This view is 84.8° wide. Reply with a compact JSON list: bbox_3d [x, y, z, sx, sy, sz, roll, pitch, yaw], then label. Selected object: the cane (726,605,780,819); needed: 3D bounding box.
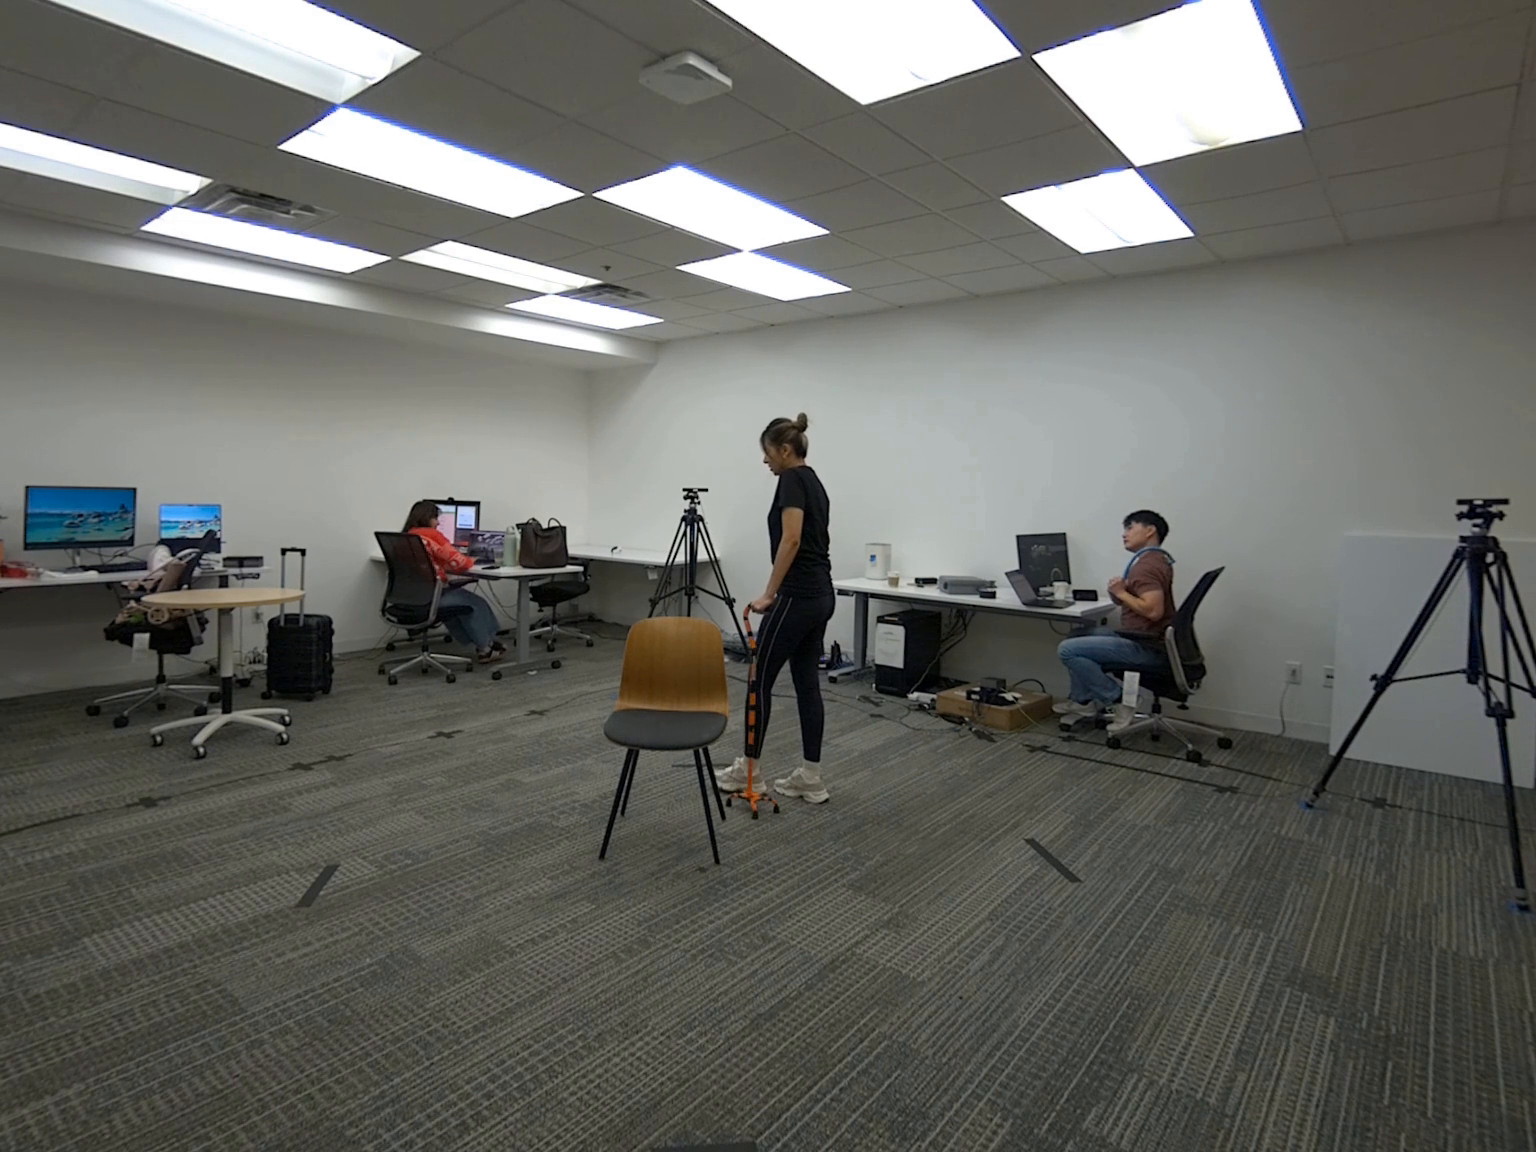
[{"bbox_3d":[-0.067,0.561,3.687,0.147,0.905,0.213,-1,3,-40],"label":"cane"}]
